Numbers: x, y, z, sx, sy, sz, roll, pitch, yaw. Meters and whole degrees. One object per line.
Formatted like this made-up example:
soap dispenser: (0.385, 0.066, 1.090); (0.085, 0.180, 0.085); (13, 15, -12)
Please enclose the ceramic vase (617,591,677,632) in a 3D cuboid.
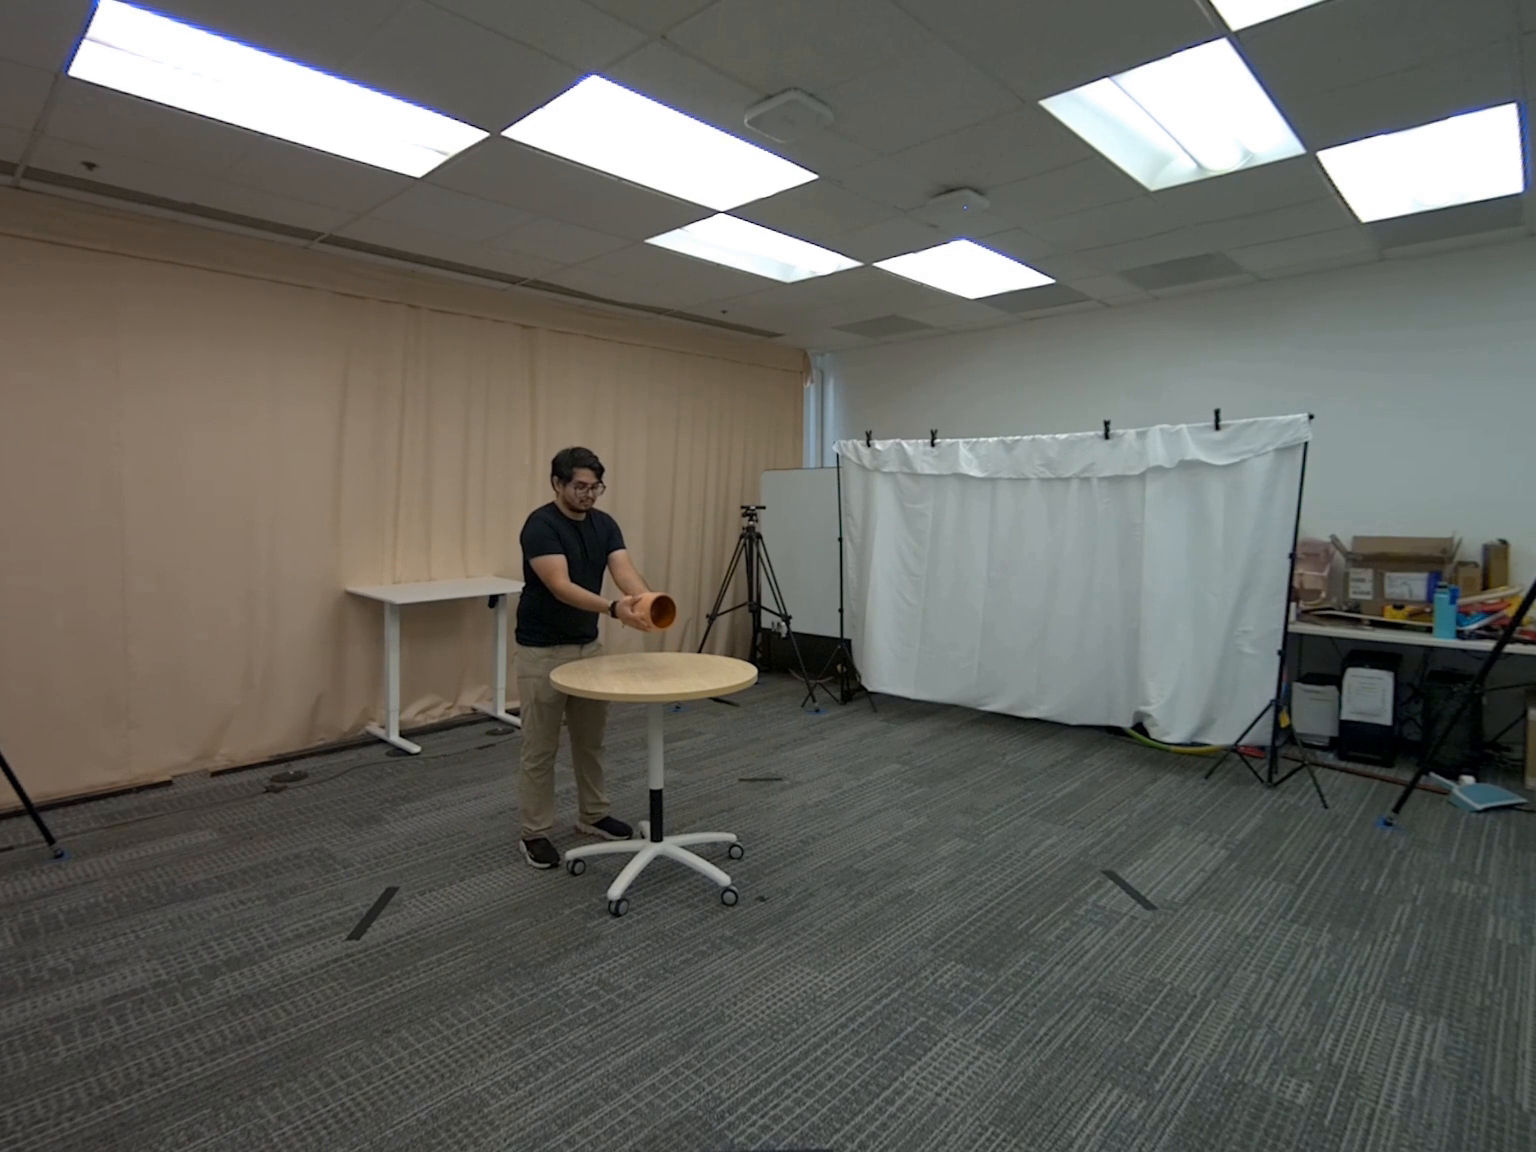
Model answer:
ceramic vase: (-0.450, 0.122, 3.083); (0.227, 0.135, 0.153); (2, -29, 44)
